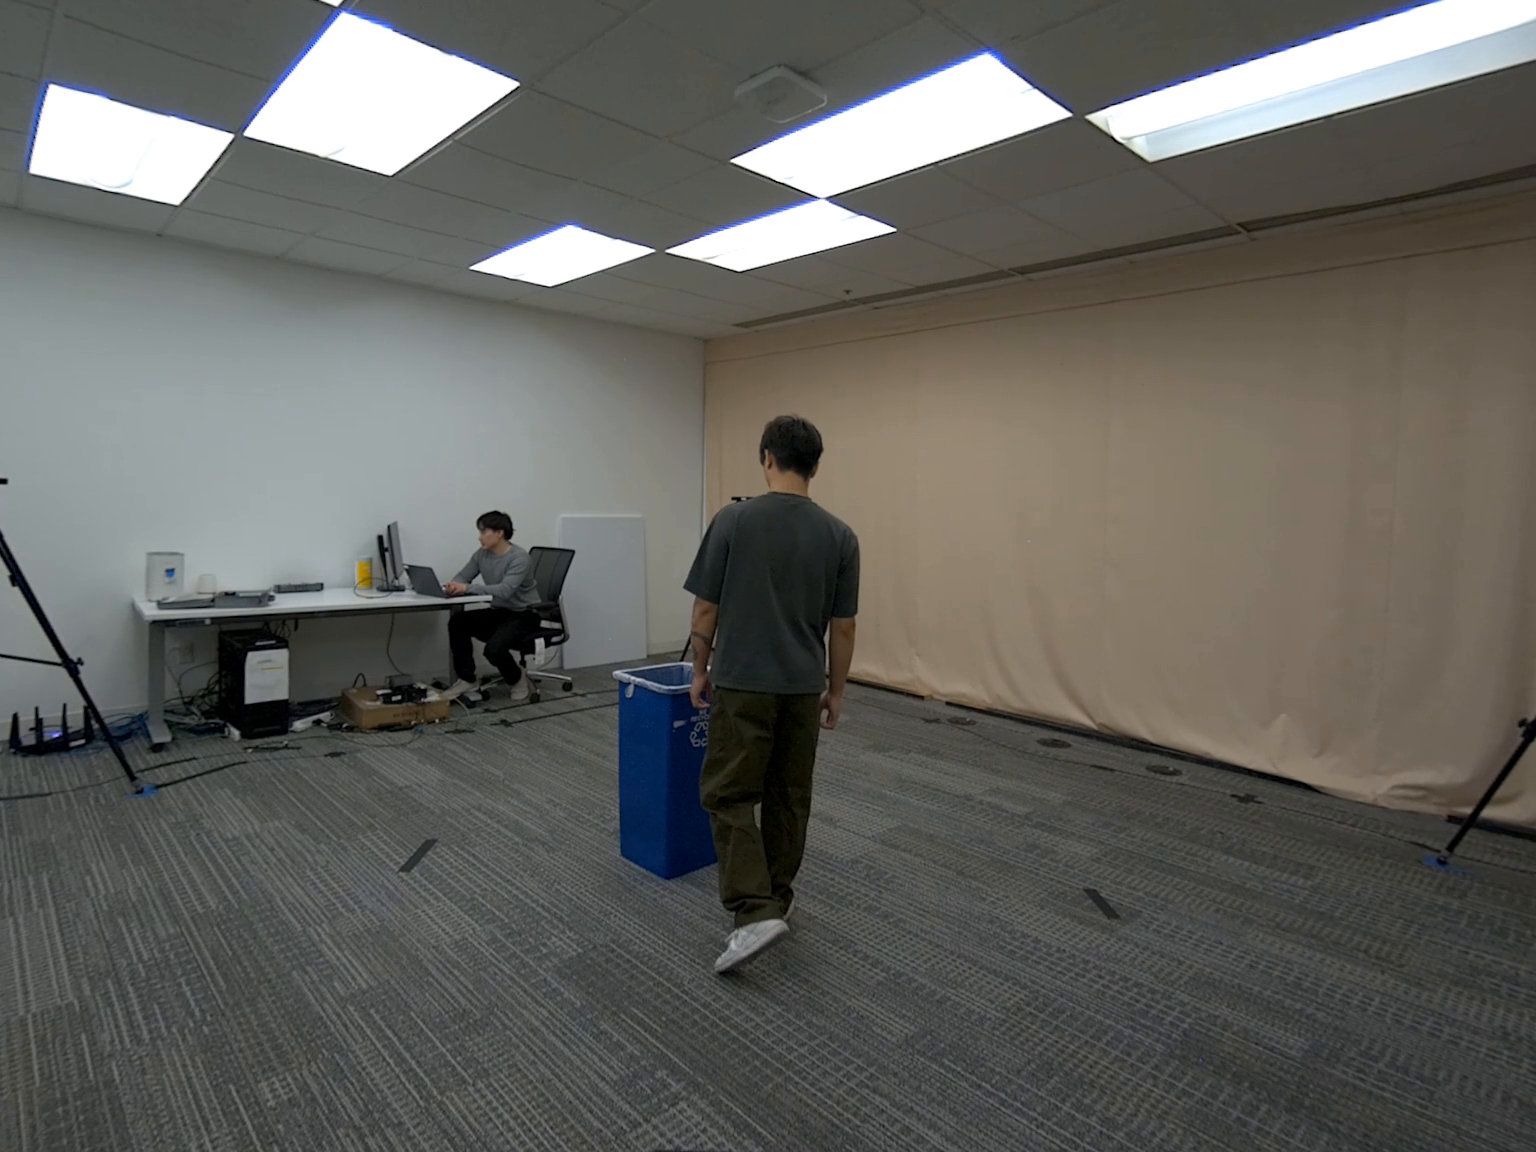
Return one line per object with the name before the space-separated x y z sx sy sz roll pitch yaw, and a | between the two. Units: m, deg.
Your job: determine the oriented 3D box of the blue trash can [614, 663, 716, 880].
blue trash can | -0.362 0.730 3.252 0.365 0.711 0.388 -2 6 -45
